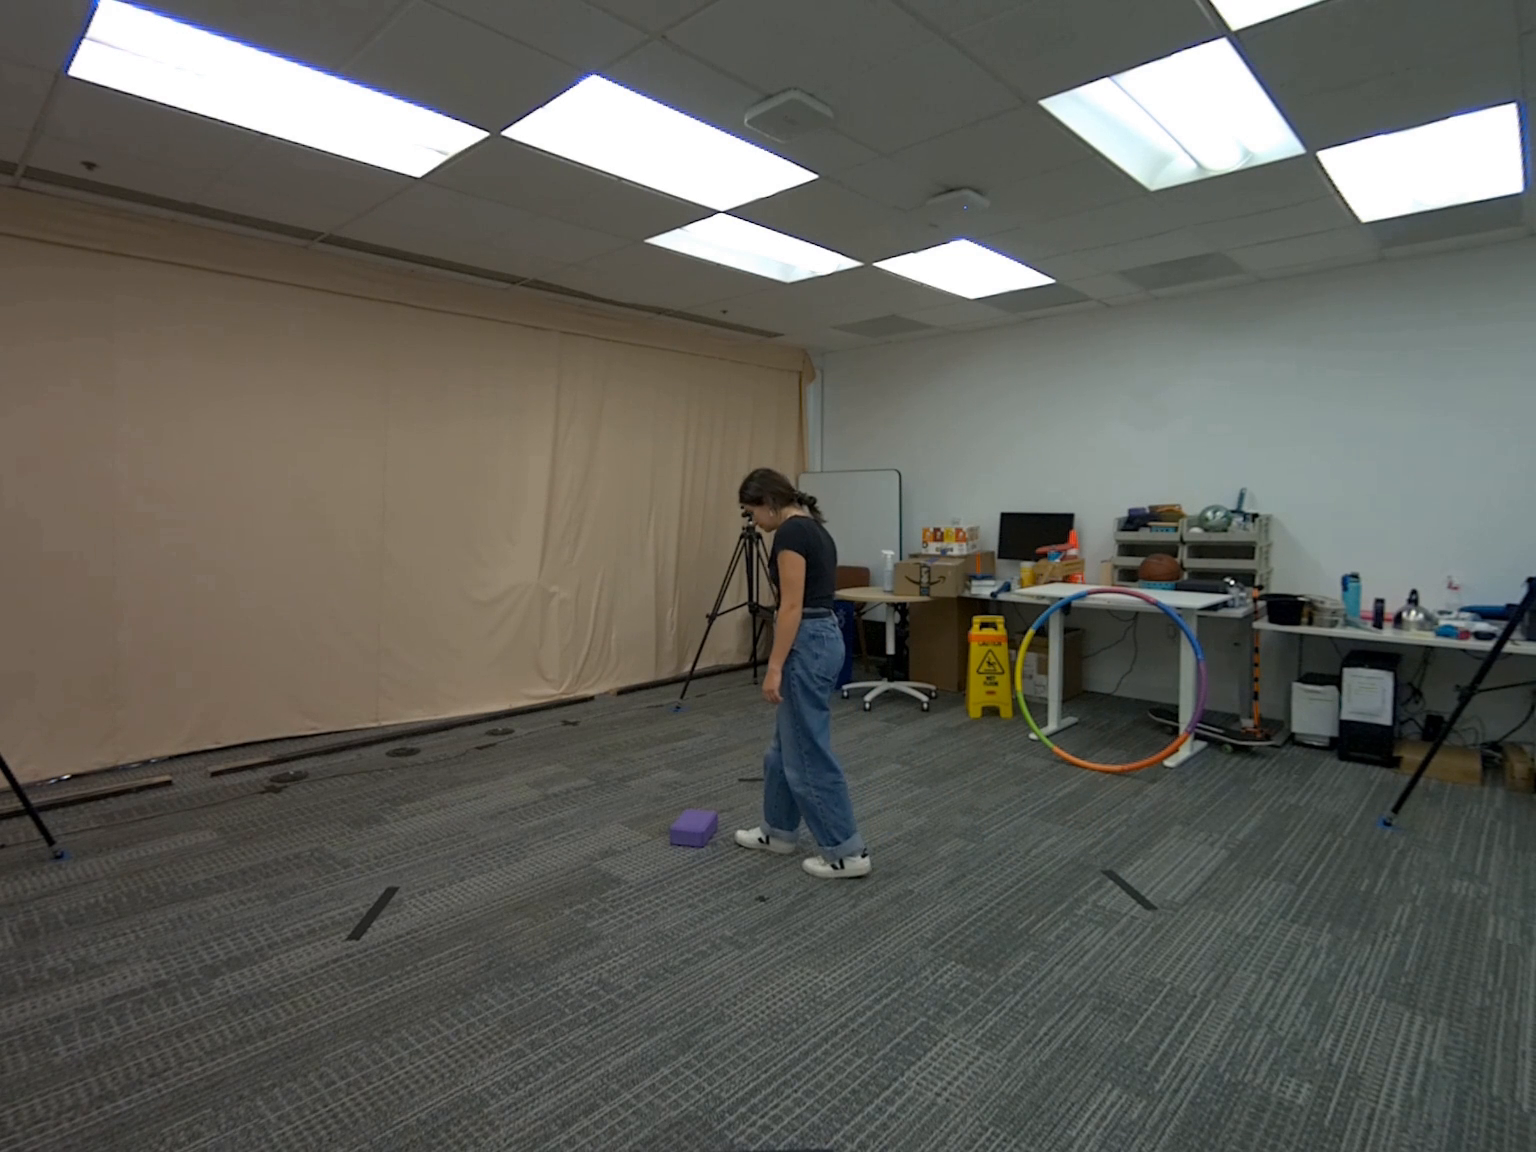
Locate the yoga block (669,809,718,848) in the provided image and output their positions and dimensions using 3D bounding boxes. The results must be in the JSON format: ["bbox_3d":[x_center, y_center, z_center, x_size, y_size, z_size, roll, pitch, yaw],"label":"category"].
[{"bbox_3d":[-0.303,1.057,3.542,0.151,0.076,0.226,2,6,13],"label":"yoga block"}]
